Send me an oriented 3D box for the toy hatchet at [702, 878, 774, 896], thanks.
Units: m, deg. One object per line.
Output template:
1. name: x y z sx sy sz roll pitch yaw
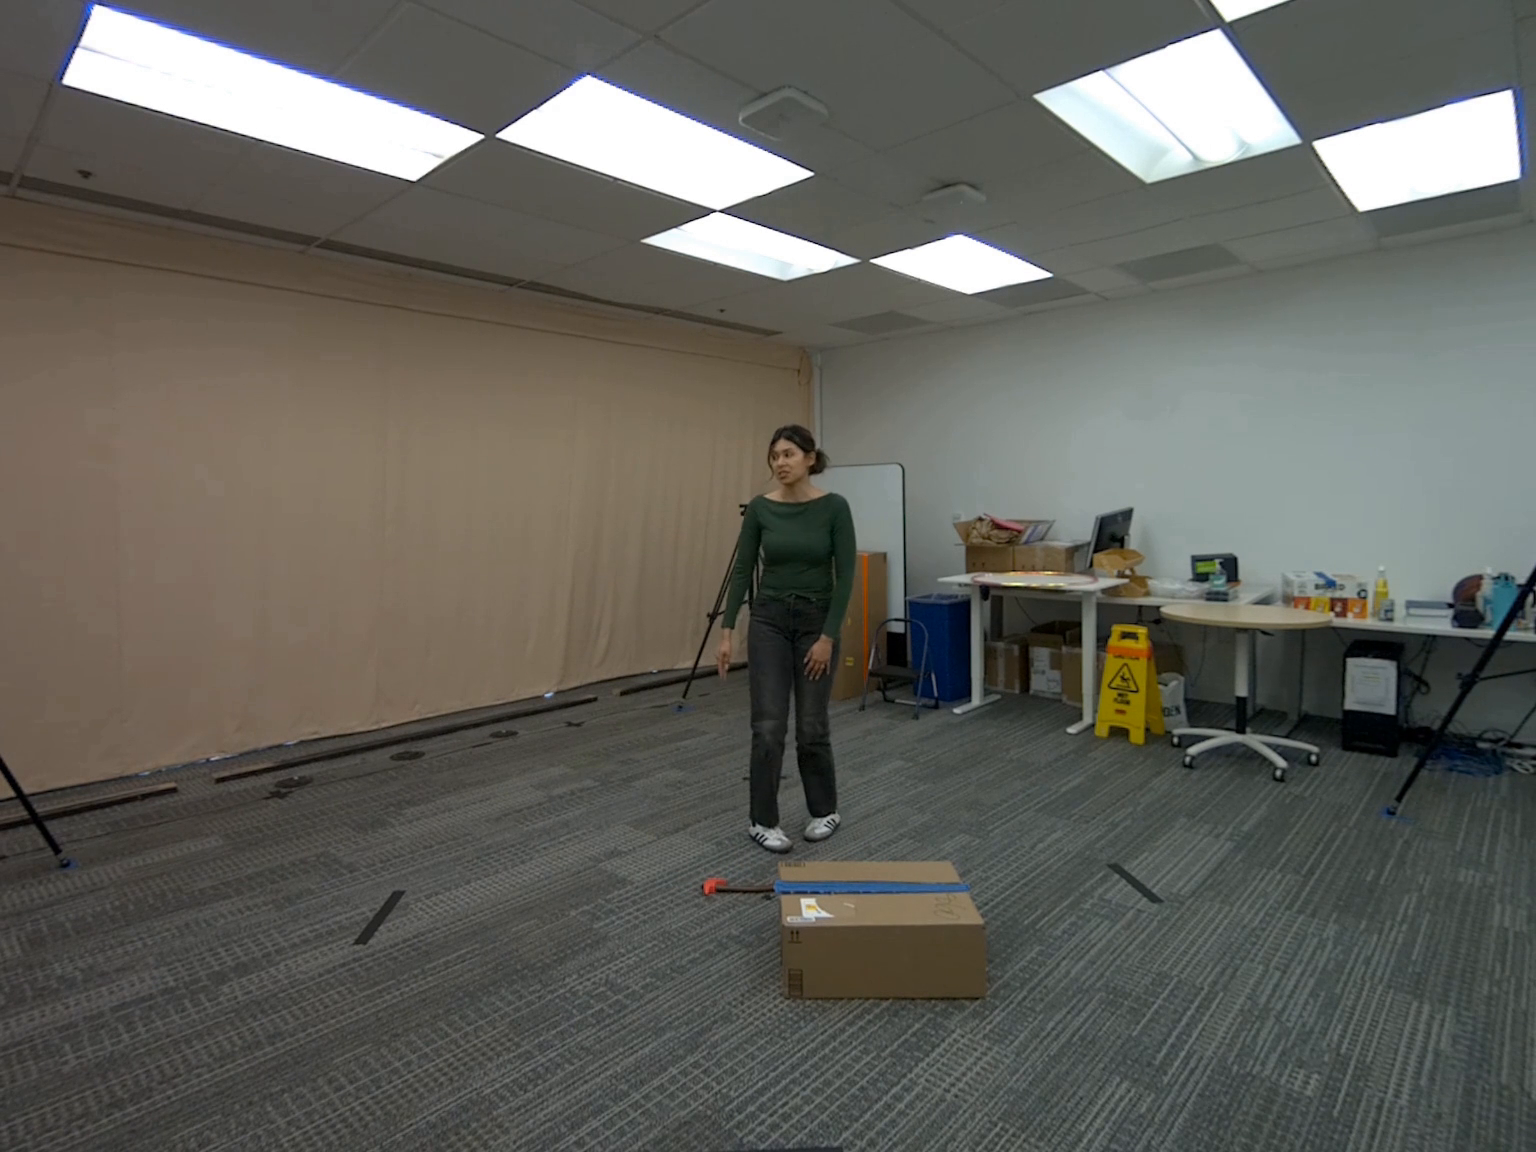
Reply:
1. toy hatchet: -0.105 1.119 3.066 0.267 0.029 0.132 1 0 -12
